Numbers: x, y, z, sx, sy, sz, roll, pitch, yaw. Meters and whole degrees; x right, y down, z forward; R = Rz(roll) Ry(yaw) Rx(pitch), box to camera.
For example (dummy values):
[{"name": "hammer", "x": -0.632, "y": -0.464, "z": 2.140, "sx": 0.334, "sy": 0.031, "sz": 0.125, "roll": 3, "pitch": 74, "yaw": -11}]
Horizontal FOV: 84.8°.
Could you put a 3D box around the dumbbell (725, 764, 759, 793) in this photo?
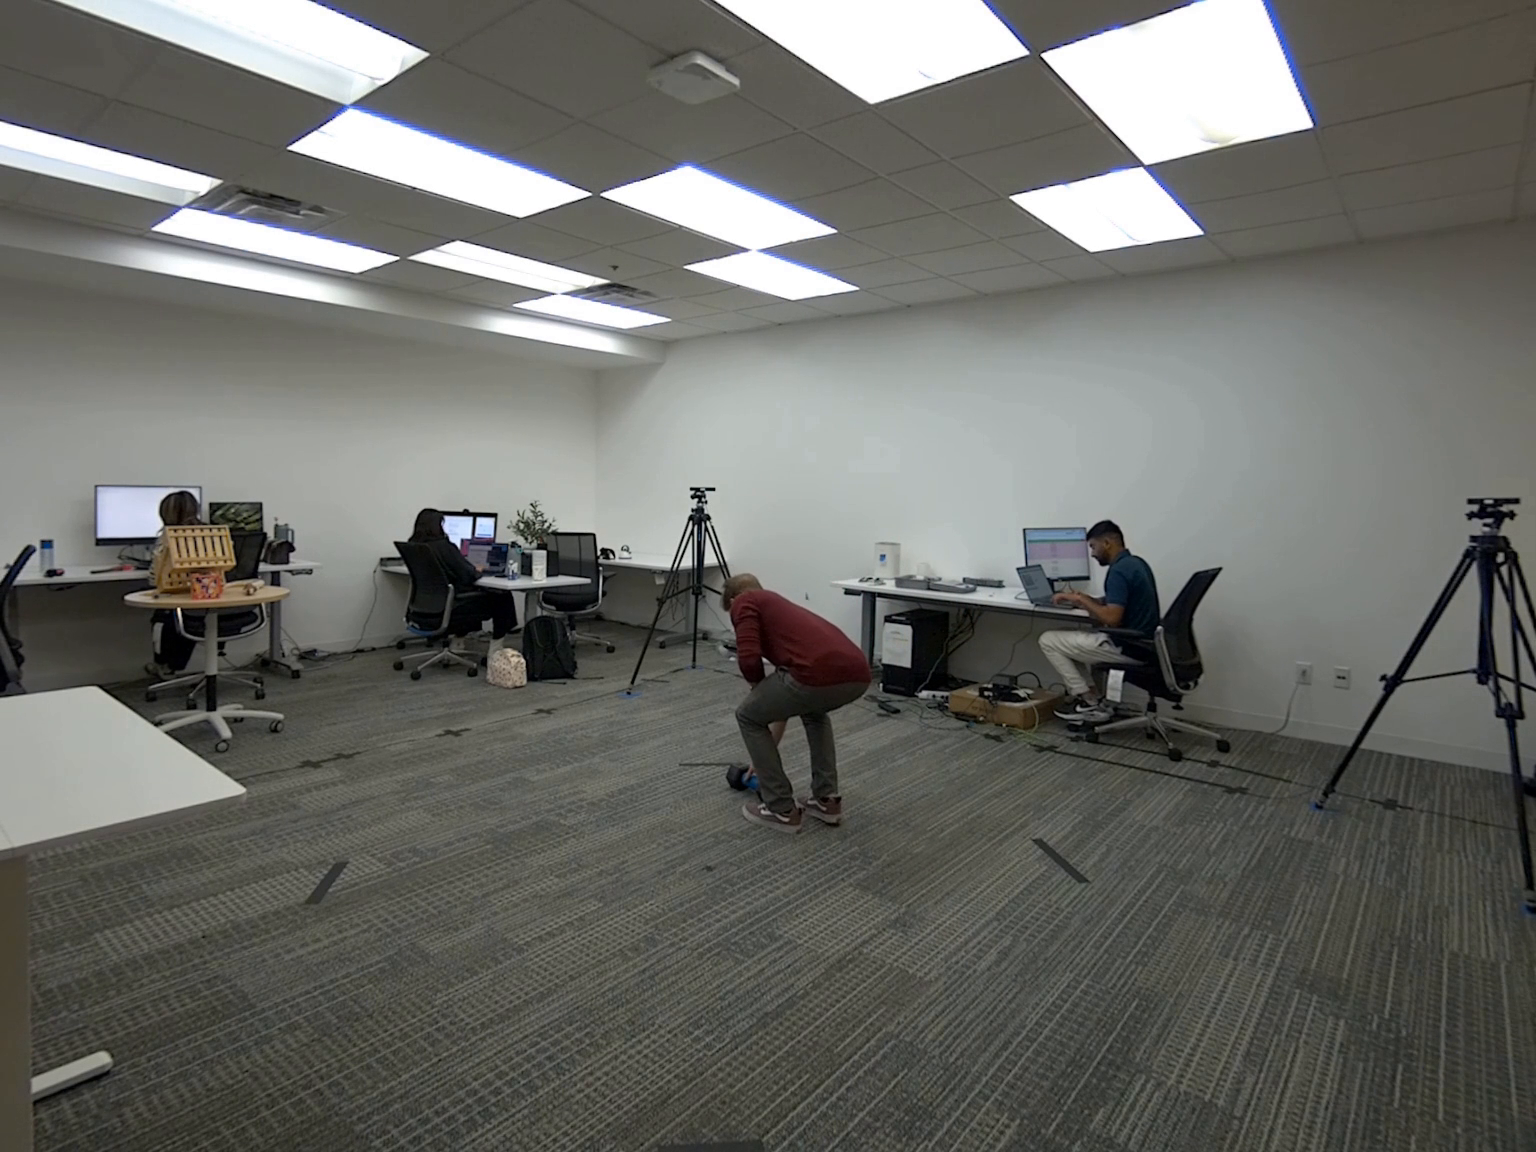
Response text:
[{"name": "dumbbell", "x": -0.071, "y": 0.939, "z": 3.891, "sx": 0.304, "sy": 0.124, "sz": 0.104, "roll": 9, "pitch": -23, "yaw": 49}]
